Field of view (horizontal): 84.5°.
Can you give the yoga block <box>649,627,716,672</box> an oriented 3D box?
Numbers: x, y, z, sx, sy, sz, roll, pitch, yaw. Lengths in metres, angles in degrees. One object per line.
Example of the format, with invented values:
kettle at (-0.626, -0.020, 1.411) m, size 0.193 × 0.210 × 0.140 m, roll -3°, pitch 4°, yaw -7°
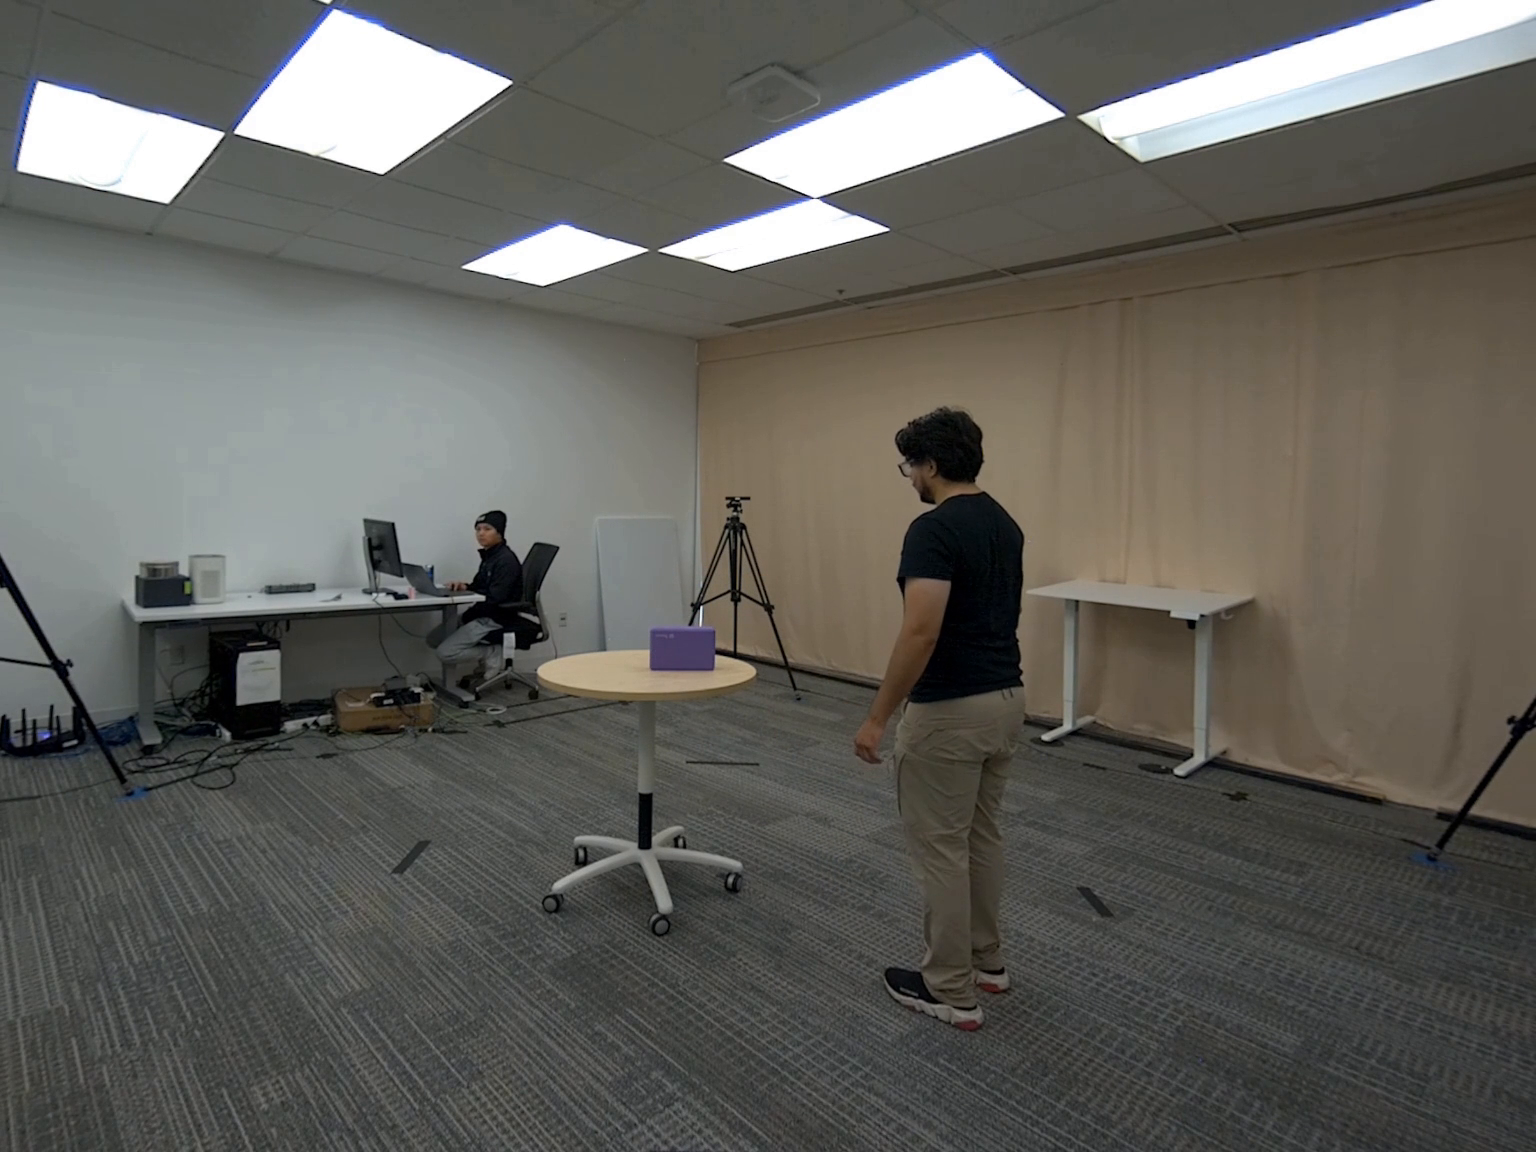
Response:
yoga block at (-0.312, 0.256, 2.977) m, size 0.229 × 0.148 × 0.077 m, roll 1°, pitch 4°, yaw -1°
